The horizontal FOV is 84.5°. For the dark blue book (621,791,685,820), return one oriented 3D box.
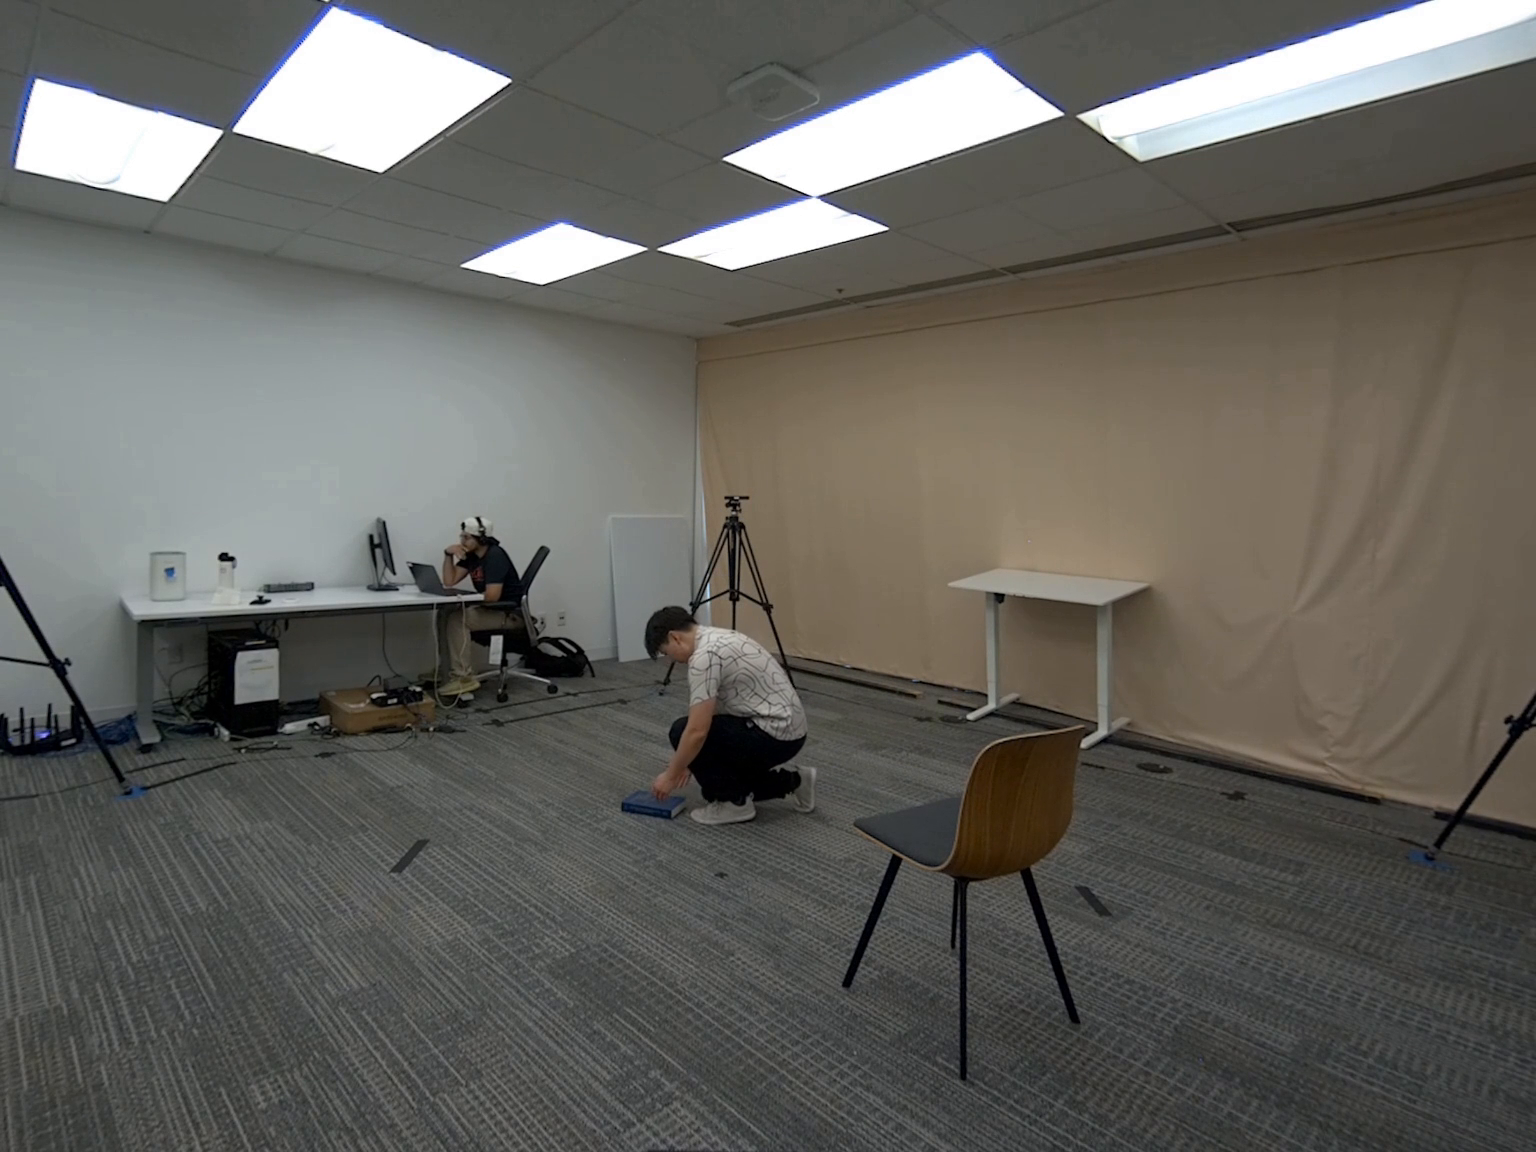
[{"bbox_3d":[-0.510,1.007,3.741,0.249,0.045,0.161,2,5,20],"label":"dark blue book"}]
